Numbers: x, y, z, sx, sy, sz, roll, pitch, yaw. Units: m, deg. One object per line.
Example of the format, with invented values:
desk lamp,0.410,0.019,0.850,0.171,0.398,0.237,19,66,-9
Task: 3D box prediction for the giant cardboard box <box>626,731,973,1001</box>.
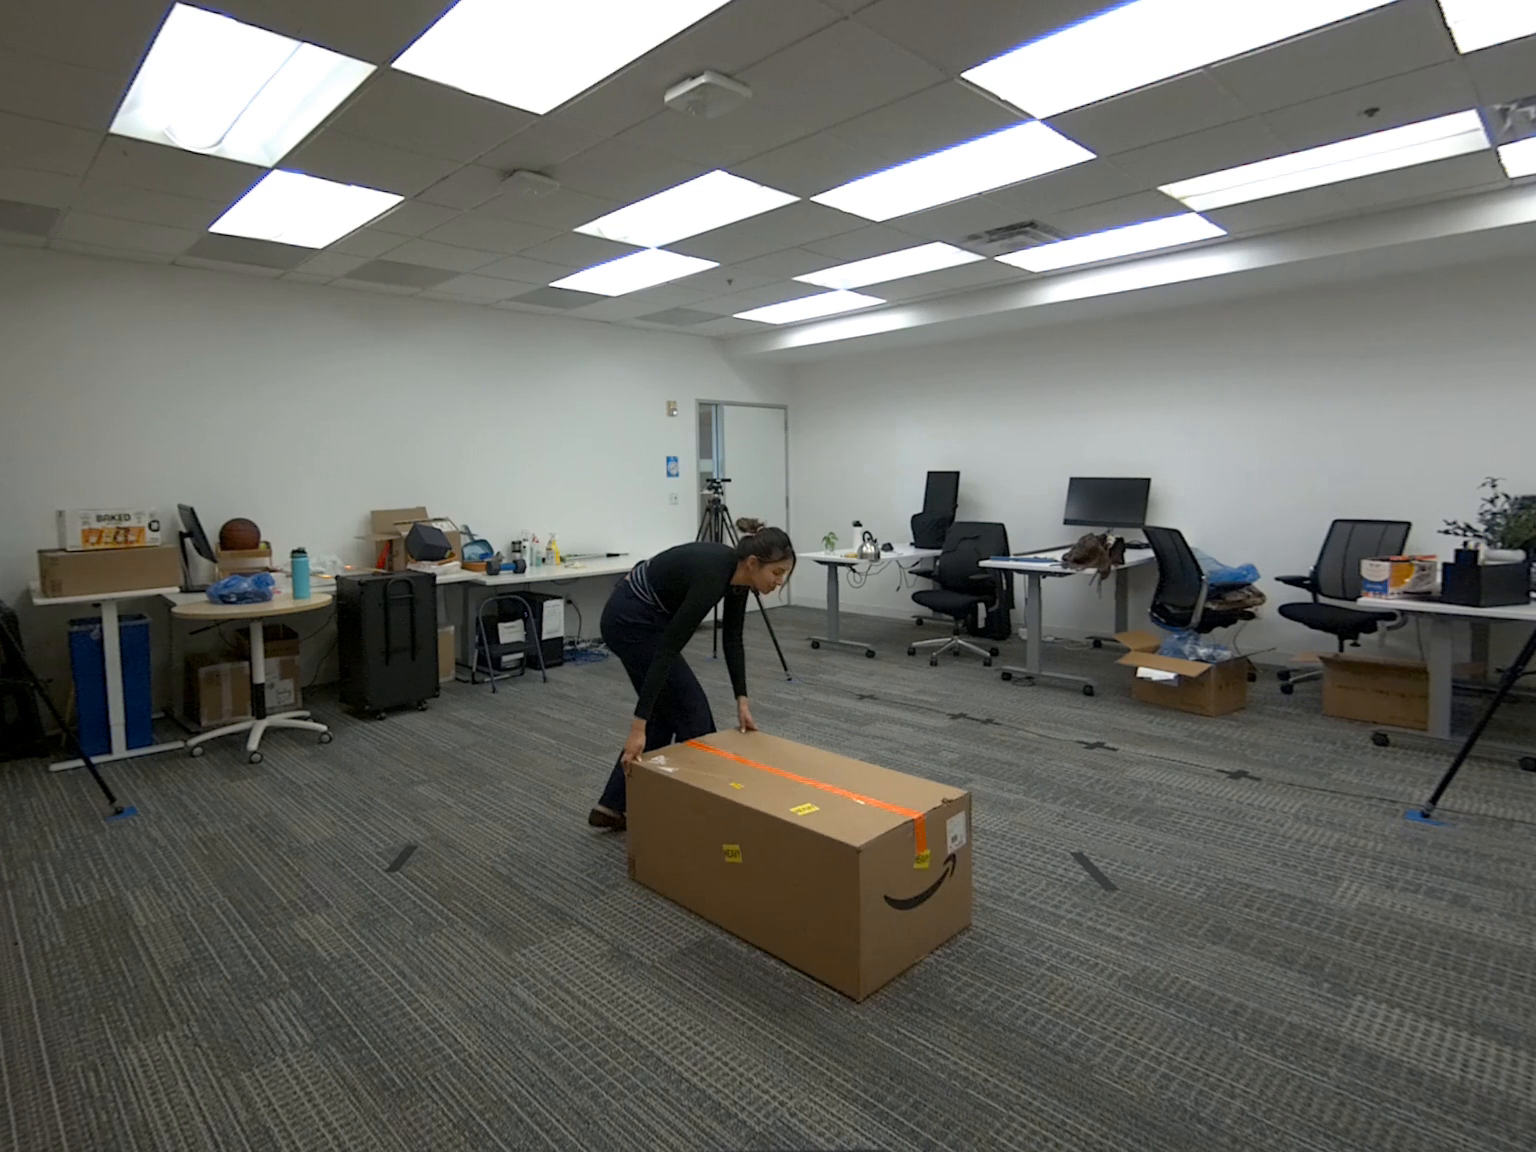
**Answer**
giant cardboard box,0.070,0.861,2.818,0.562,0.424,1.058,-6,8,-44
